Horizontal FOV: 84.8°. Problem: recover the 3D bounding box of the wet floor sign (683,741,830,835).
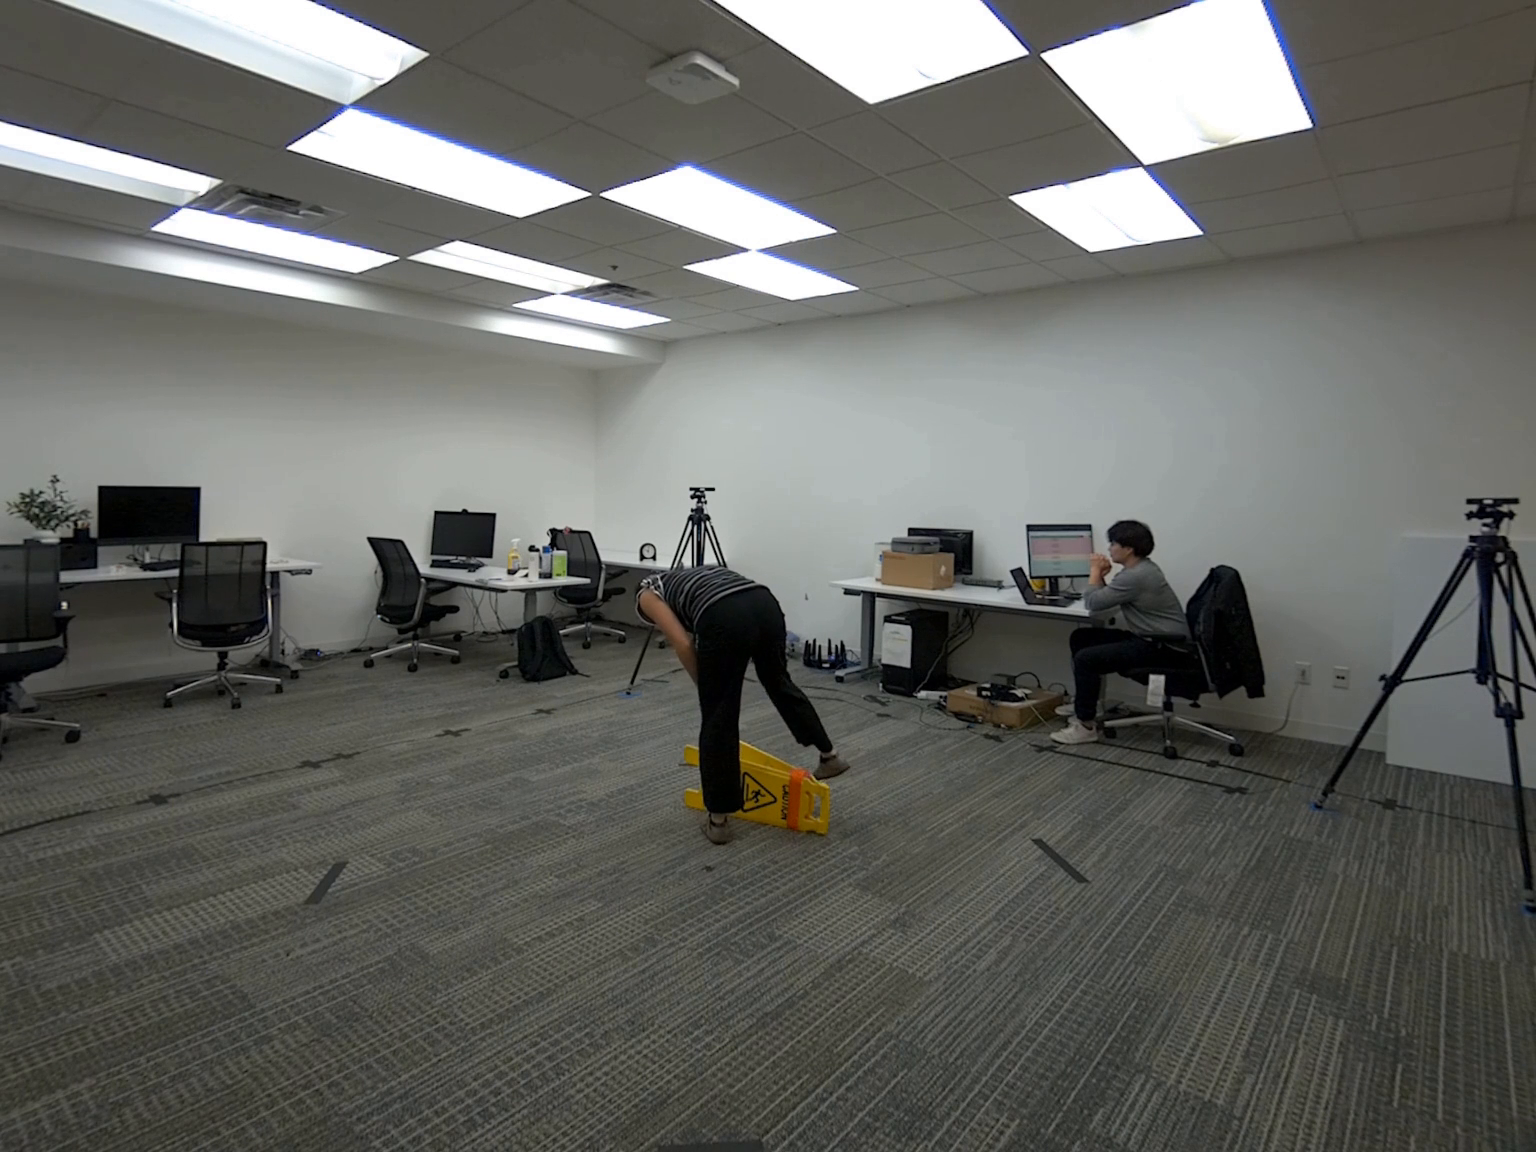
[{"bbox_3d":[-0.035,0.896,3.612,0.668,0.281,0.281,8,8,36],"label":"wet floor sign"}]
